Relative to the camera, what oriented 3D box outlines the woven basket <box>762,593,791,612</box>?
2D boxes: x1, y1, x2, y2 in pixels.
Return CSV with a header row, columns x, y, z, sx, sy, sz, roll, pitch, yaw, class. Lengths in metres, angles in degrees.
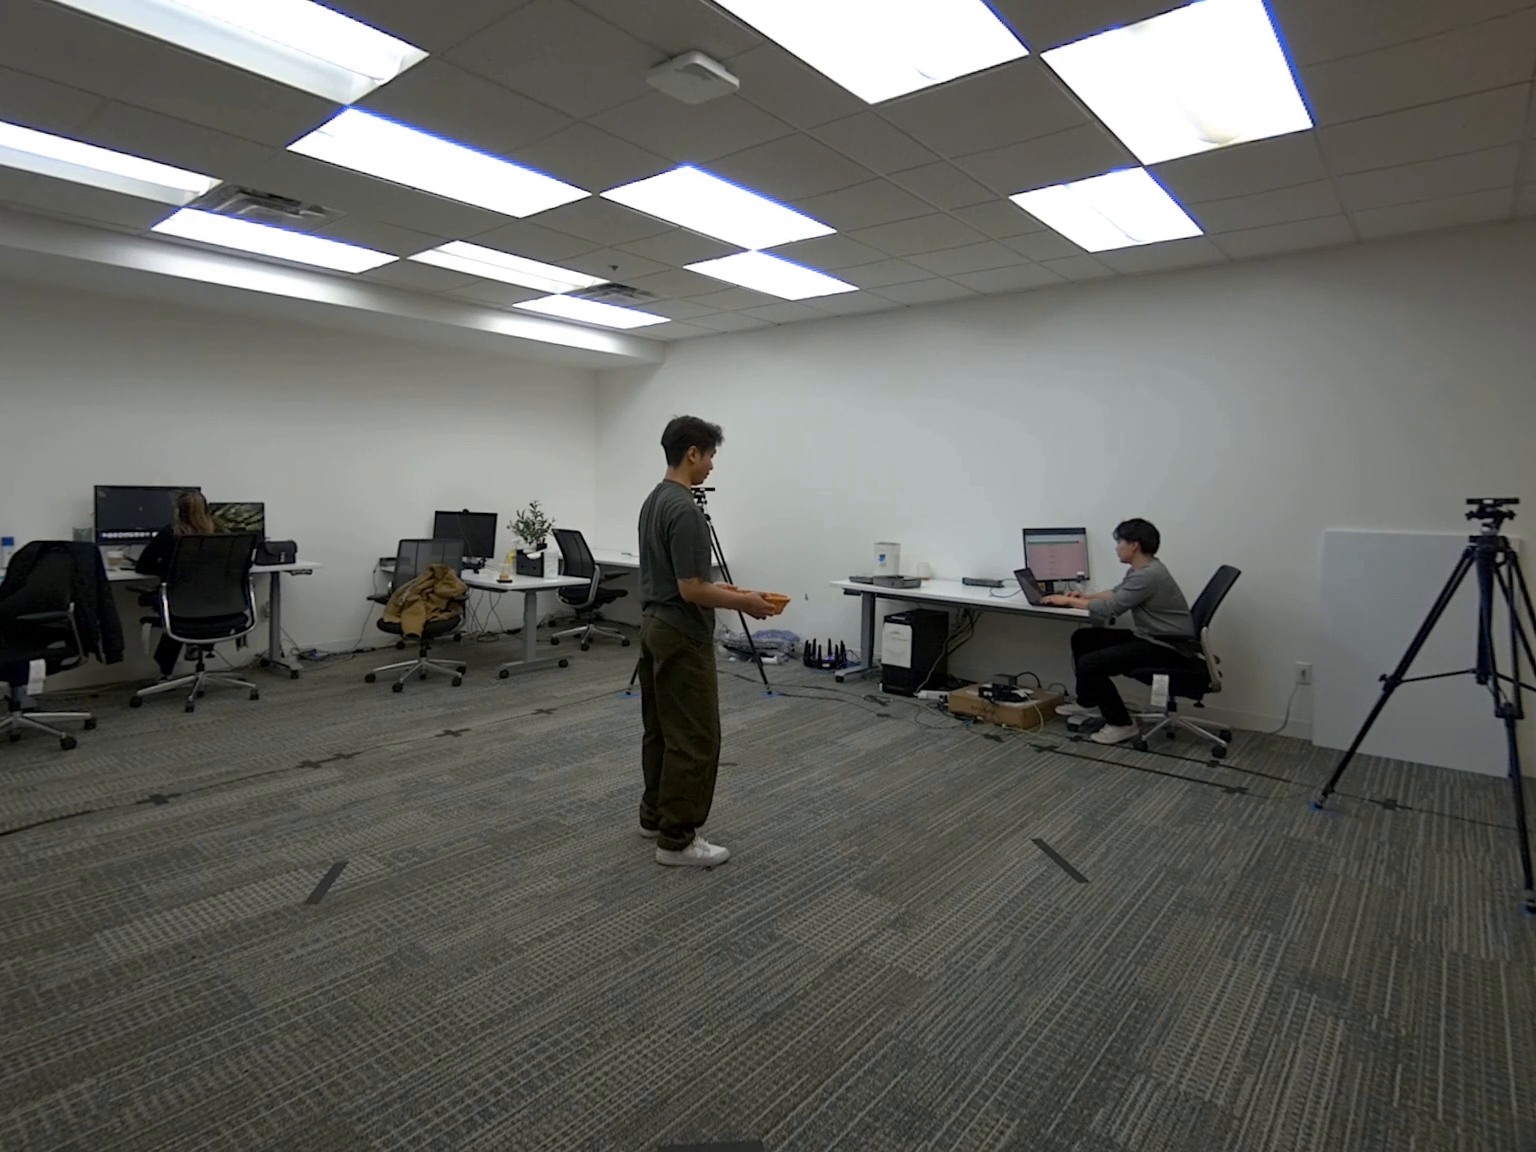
x,y,z,sx,sy,sz,roll,pitch,yaw,class
-0.075,0.109,3.389,0.247,0.073,0.358,4,3,-19,woven basket
